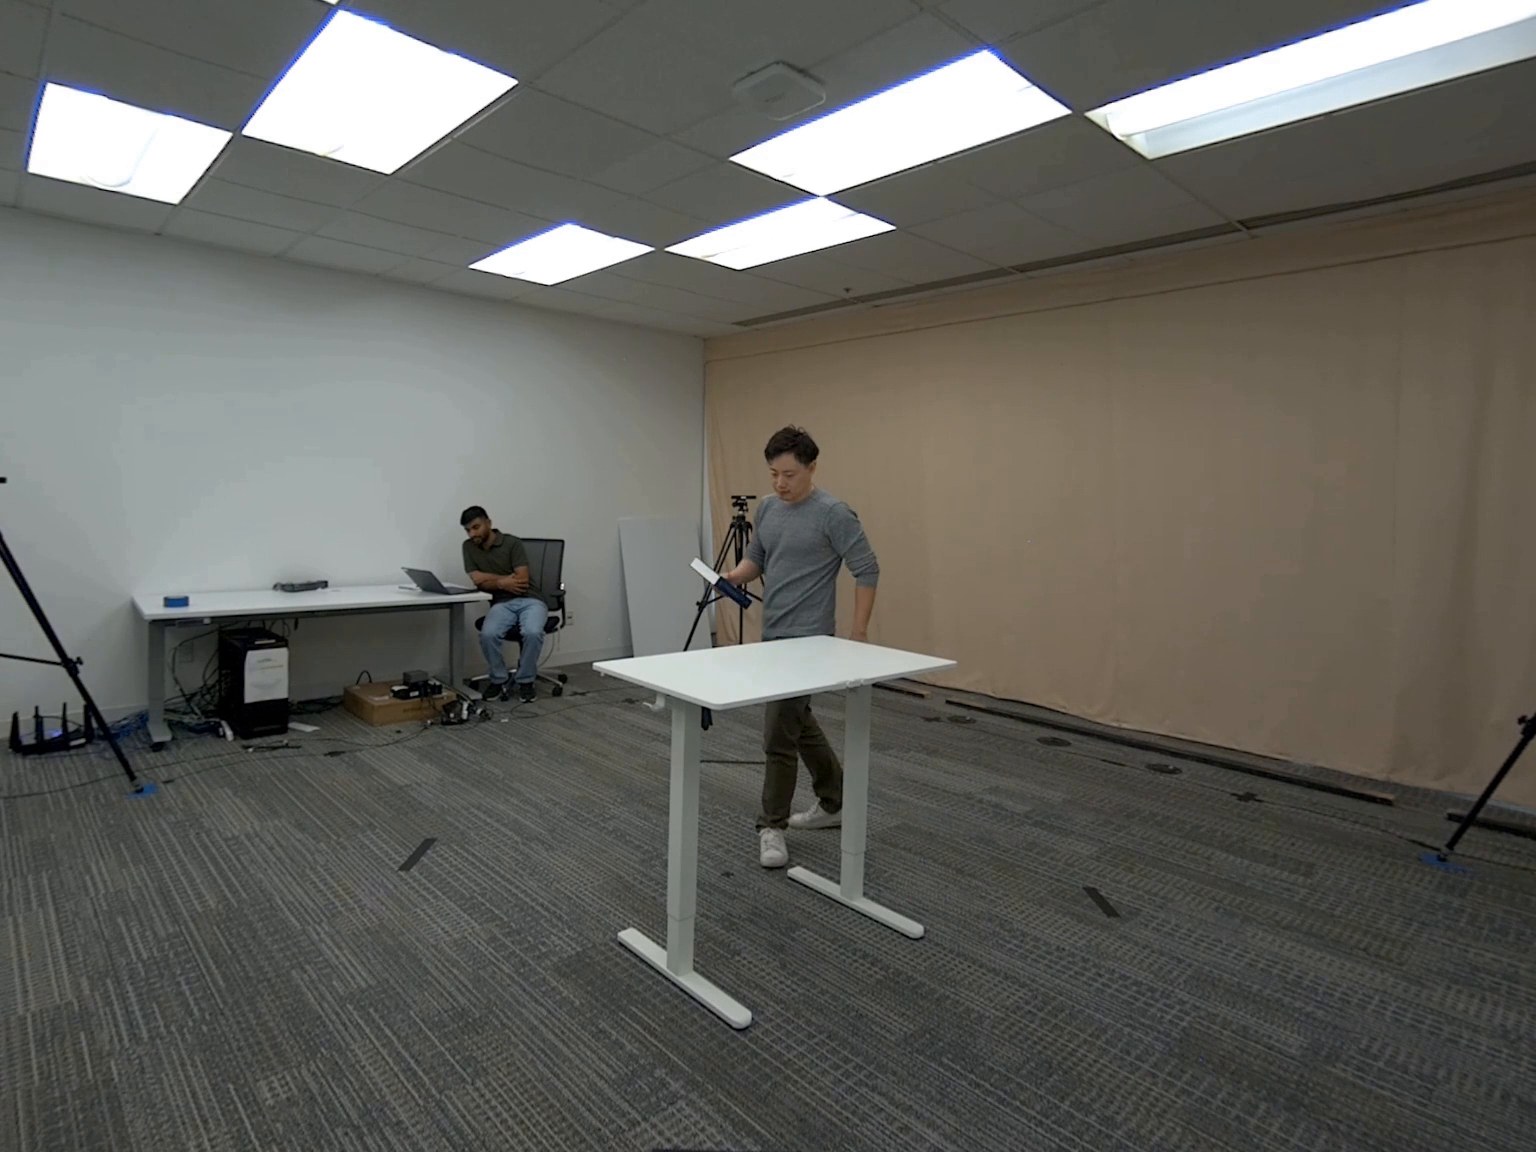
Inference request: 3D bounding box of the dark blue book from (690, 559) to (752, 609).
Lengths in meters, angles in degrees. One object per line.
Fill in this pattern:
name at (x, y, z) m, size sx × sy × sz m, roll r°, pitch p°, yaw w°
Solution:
dark blue book at (-0.190, 0.026, 3.196) m, size 0.169 × 0.045 × 0.237 m, roll 40°, pitch 1°, yaw 40°
